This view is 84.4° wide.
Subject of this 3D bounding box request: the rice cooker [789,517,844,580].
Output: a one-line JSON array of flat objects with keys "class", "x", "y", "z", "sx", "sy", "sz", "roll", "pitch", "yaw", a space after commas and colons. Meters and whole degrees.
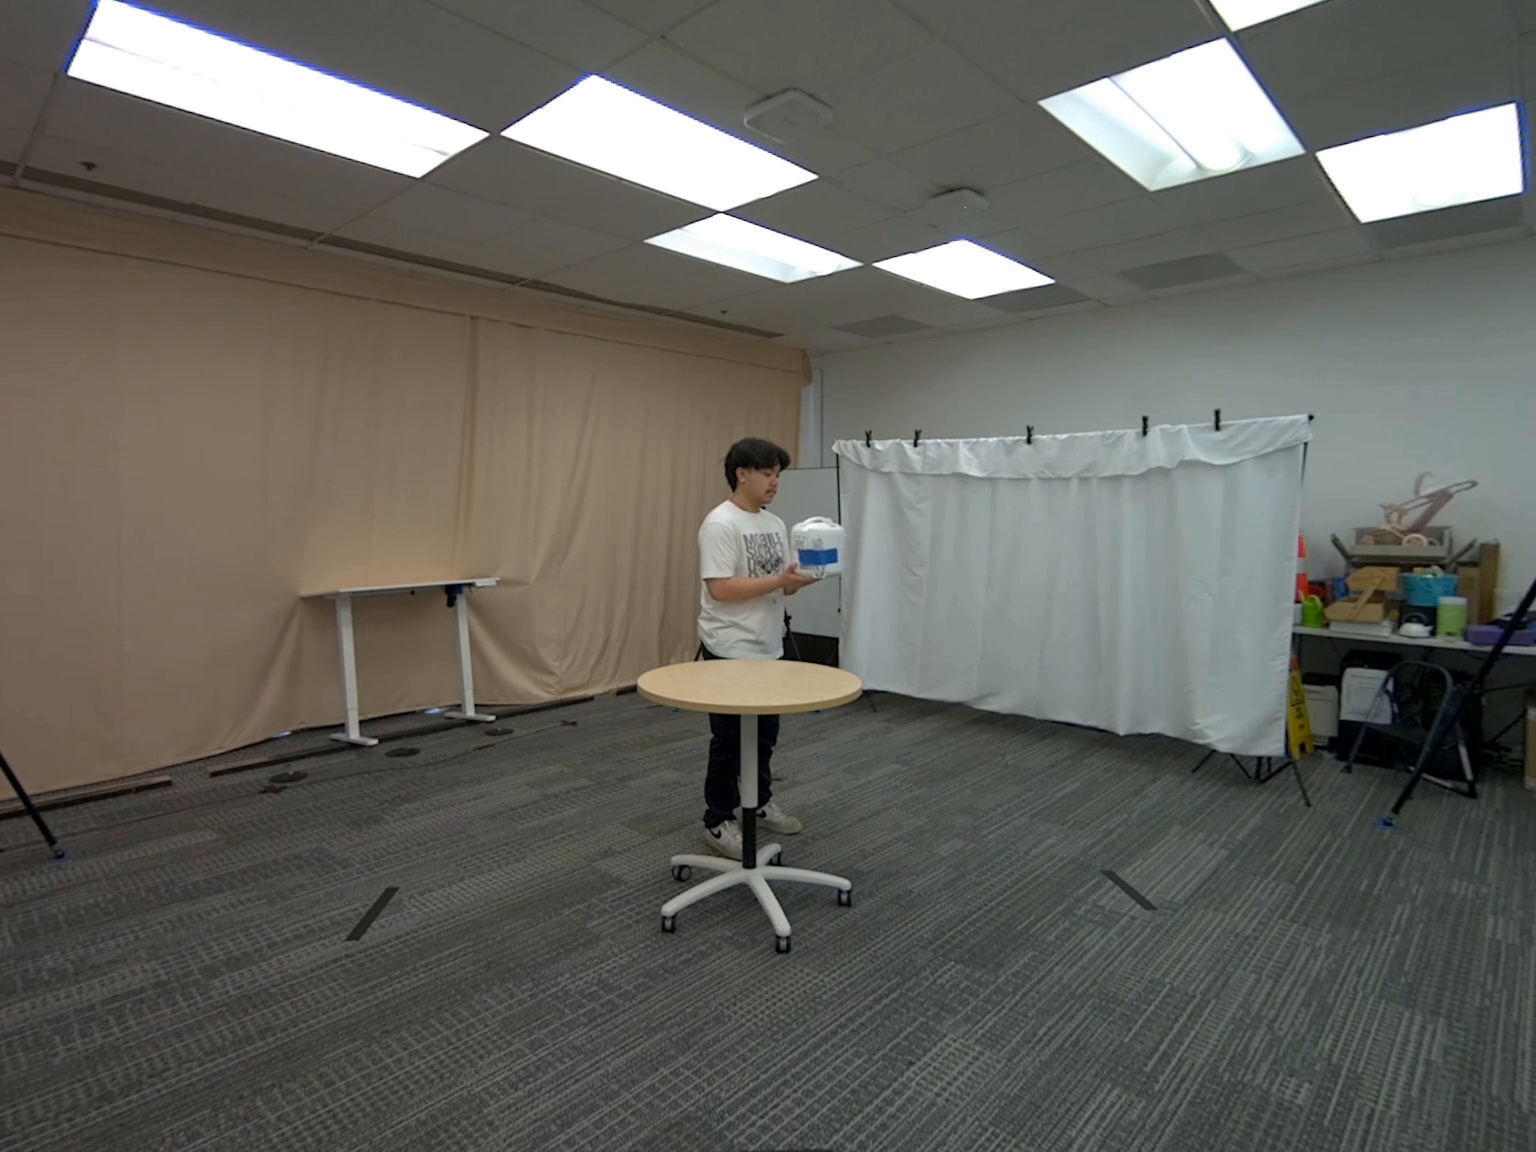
[{"class": "rice cooker", "x": 0.193, "y": -0.114, "z": 3.281, "sx": 0.214, "sy": 0.232, "sz": 0.225, "roll": -1, "pitch": 6, "yaw": -43}]
